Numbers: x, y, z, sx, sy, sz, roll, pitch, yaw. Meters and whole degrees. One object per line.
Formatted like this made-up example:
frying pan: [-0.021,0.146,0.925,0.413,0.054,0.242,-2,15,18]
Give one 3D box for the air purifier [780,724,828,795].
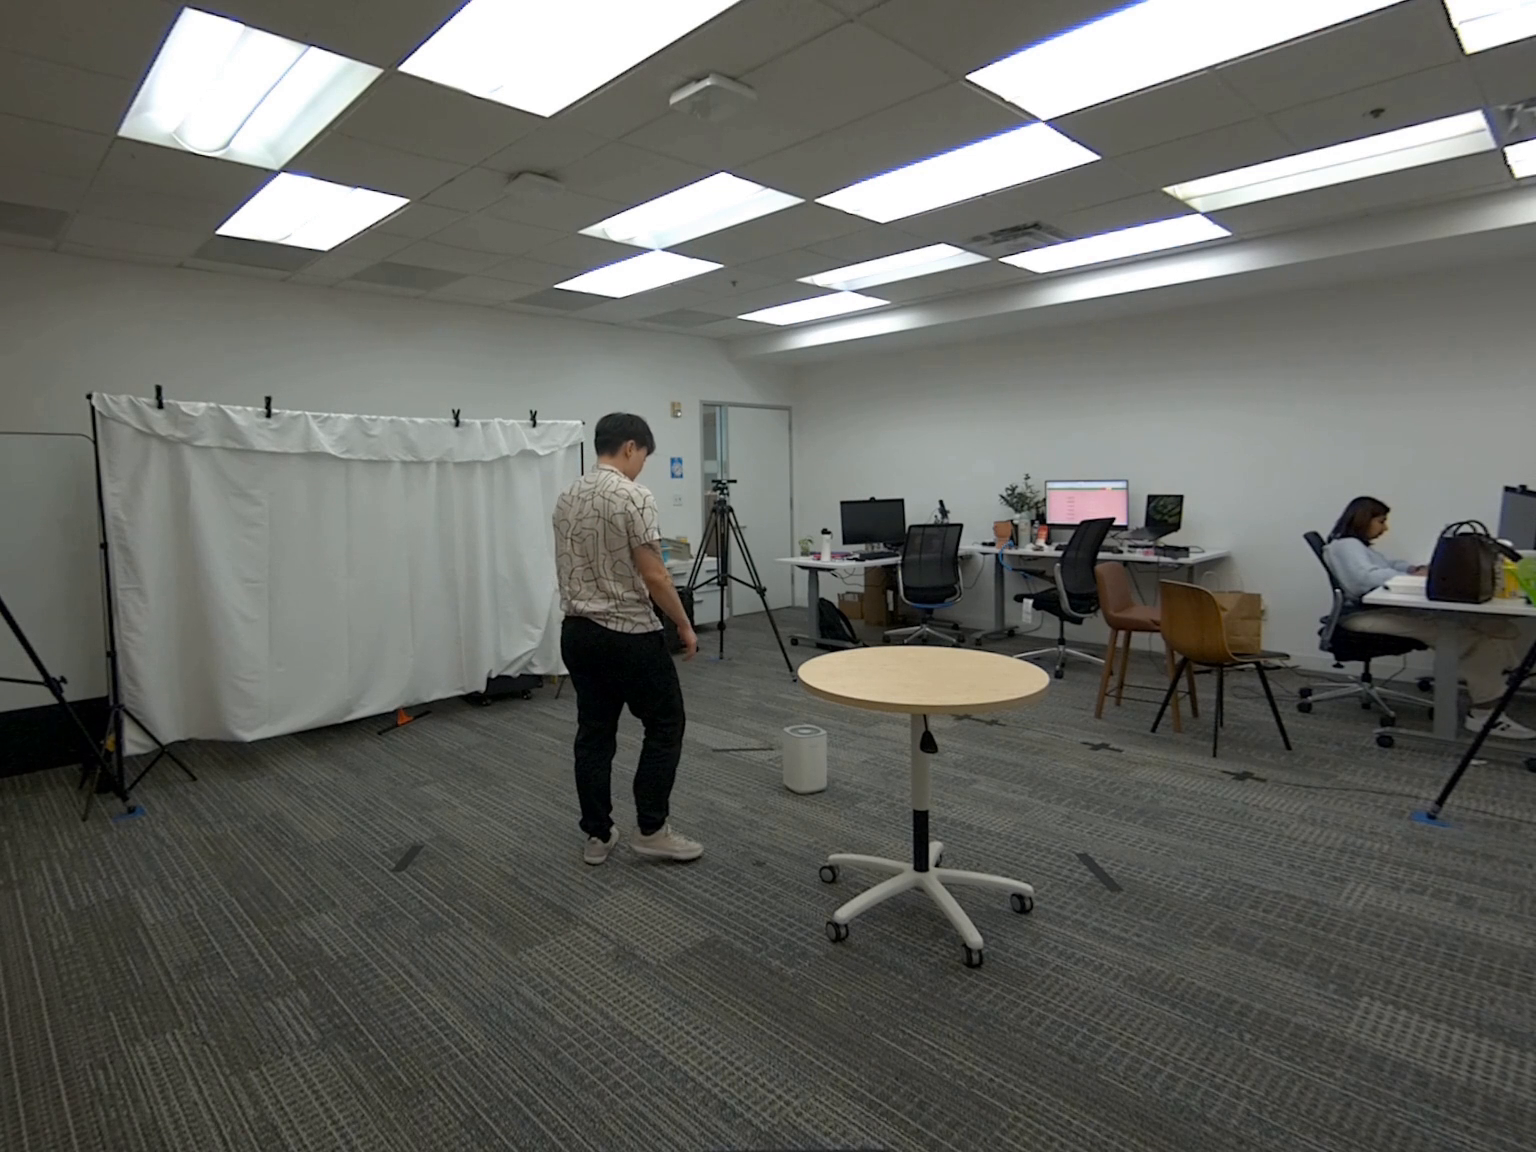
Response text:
air purifier: [0.169,0.827,3.856,0.167,0.264,0.176,-3,5,-29]
